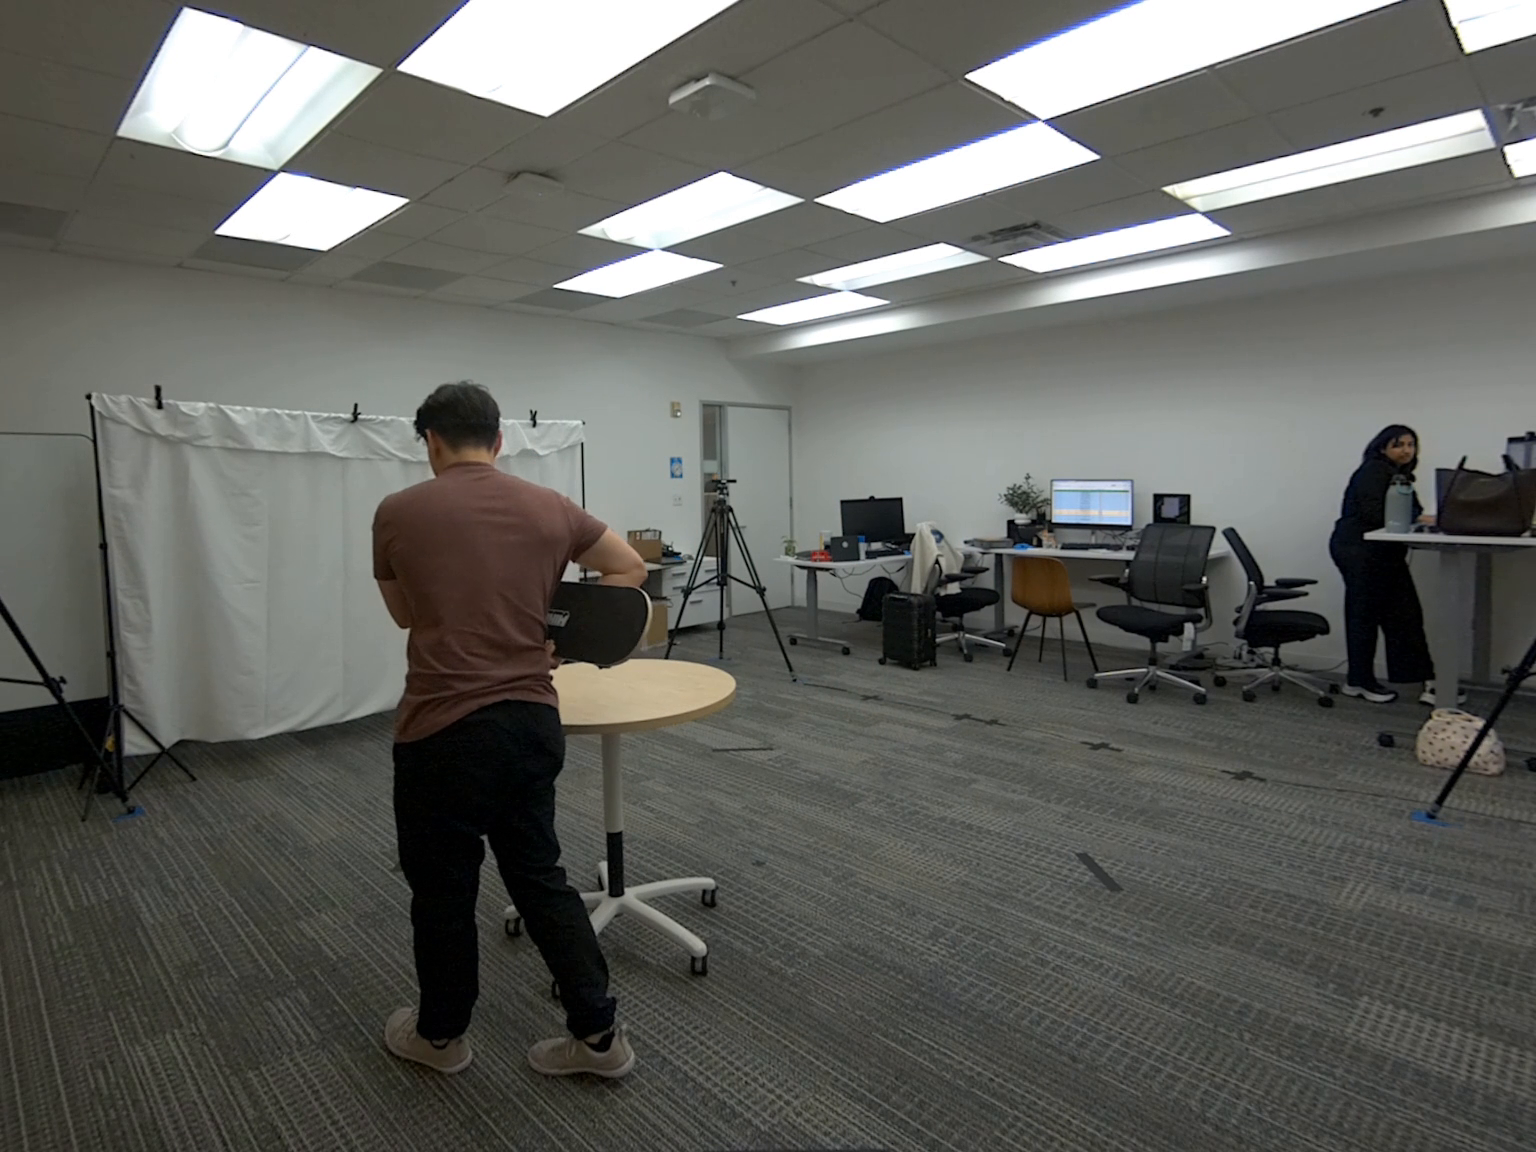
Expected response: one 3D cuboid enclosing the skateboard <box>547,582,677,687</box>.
[{"bbox_3d":[-0.580,0.114,2.195,0.810,0.195,0.106,5,-15,39],"label":"skateboard"}]
